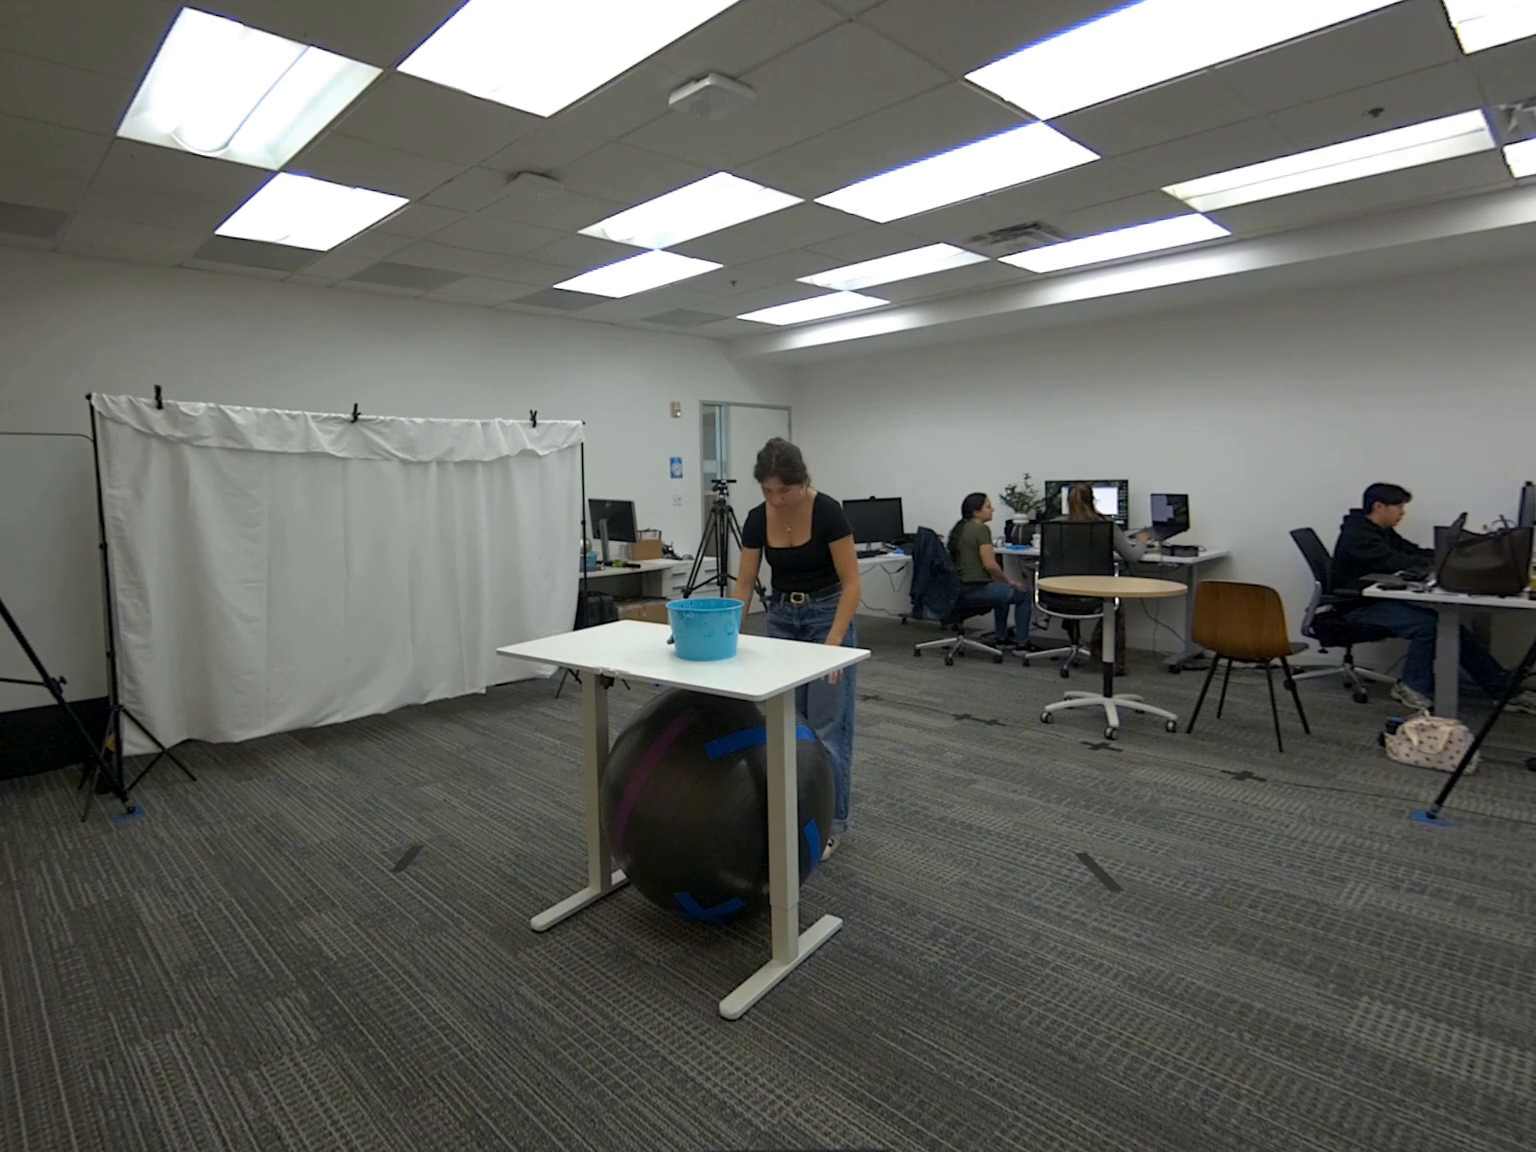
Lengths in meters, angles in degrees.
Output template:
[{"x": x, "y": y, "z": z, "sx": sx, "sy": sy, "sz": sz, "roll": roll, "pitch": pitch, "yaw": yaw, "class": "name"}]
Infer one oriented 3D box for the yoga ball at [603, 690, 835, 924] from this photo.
[{"x": -0.169, "y": 0.725, "z": 2.784, "sx": 0.757, "sy": 0.755, "sz": 0.762, "roll": -1, "pitch": 5, "yaw": -2, "class": "yoga ball"}]
